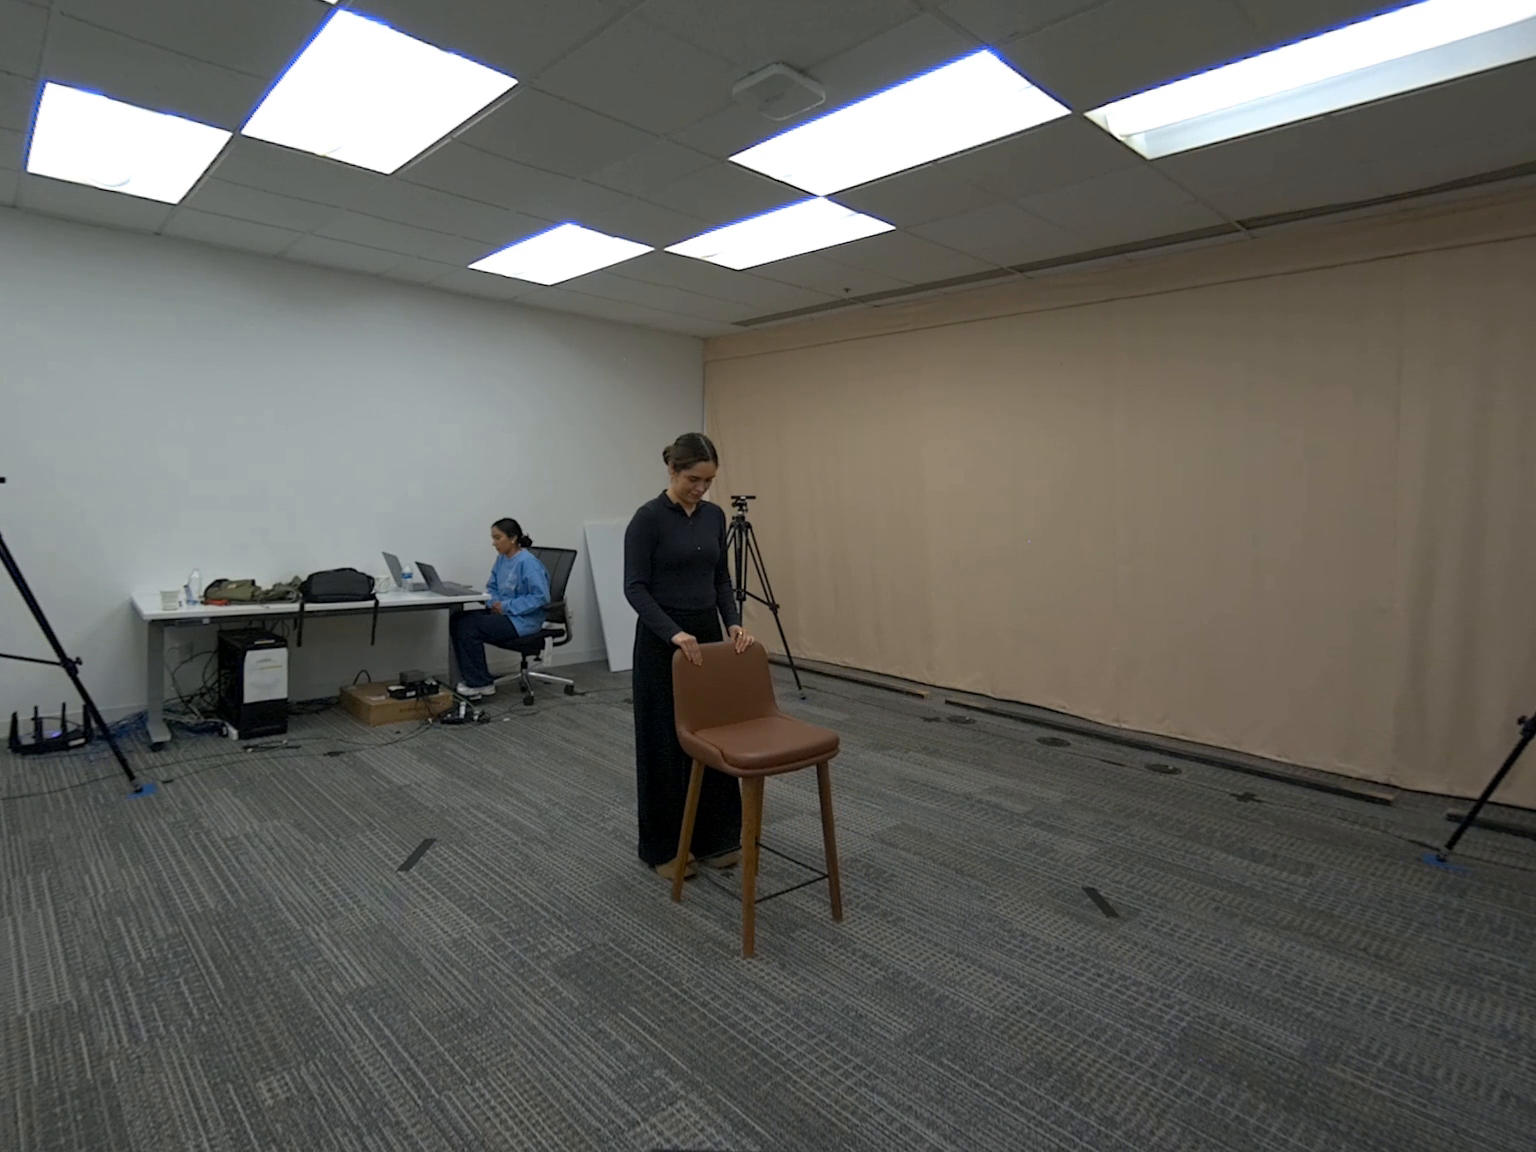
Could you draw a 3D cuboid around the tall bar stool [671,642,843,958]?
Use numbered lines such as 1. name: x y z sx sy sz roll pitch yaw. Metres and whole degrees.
1. tall bar stool: -0.052 0.692 2.819 0.446 0.889 0.479 -2 2 -39
